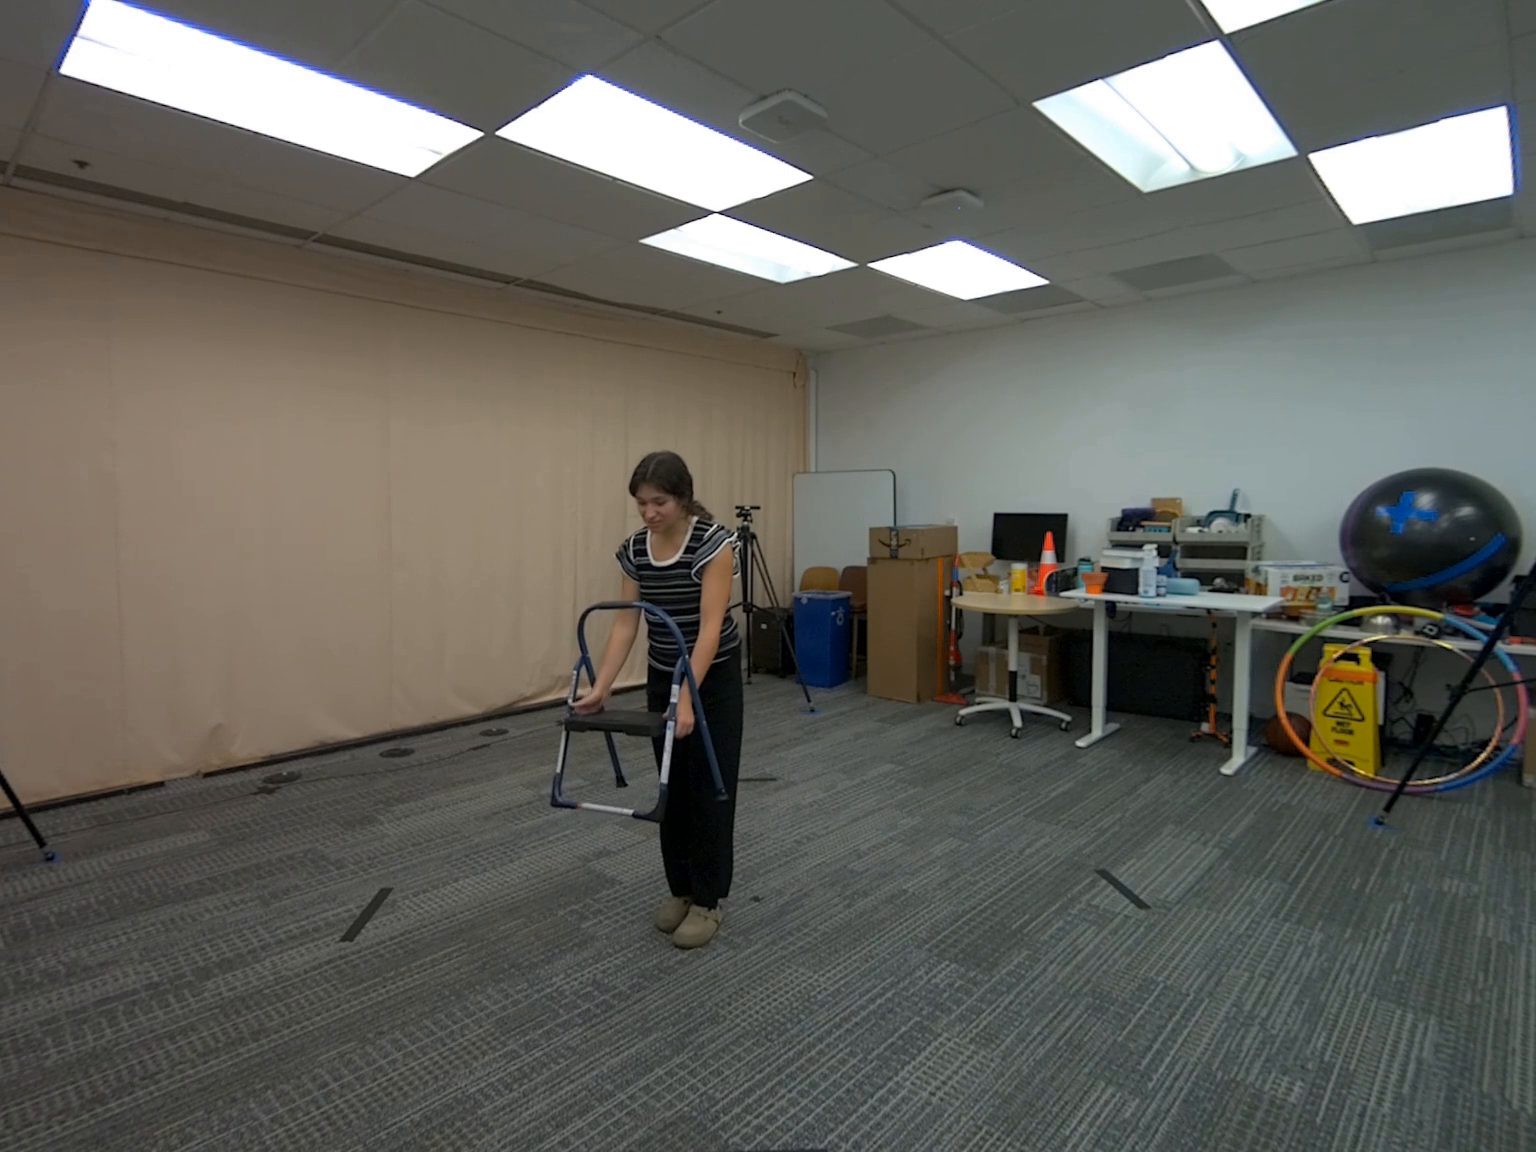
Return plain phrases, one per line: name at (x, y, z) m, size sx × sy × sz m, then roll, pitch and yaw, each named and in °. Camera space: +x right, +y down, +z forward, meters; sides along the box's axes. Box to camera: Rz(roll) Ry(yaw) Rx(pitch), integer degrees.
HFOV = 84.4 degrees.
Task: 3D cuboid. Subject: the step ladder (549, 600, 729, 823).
step ladder at (-0.398, 0.389, 2.554) m, size 0.442 × 0.608 × 0.339 m, roll -5°, pitch -5°, yaw 31°
